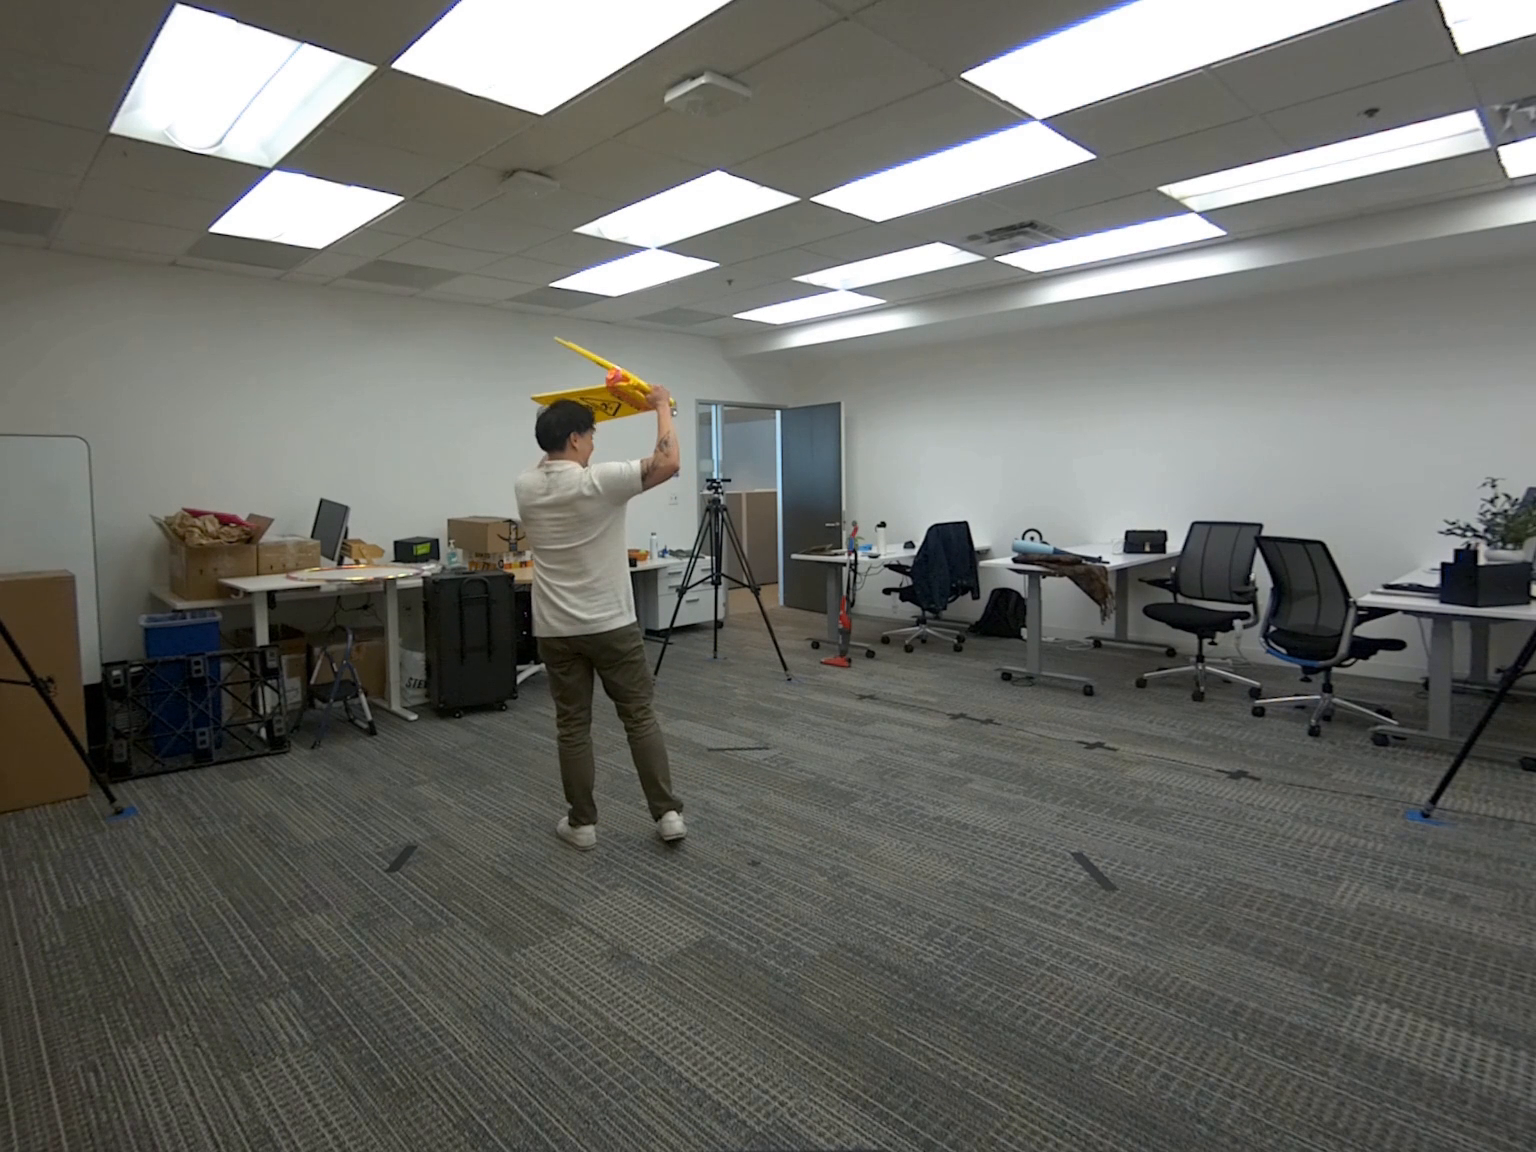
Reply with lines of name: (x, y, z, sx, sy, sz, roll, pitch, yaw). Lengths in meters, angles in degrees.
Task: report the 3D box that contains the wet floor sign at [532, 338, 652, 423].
wet floor sign: (-0.639, -0.750, 3.439, 0.272, 0.290, 0.670, 23, -3, -44)
